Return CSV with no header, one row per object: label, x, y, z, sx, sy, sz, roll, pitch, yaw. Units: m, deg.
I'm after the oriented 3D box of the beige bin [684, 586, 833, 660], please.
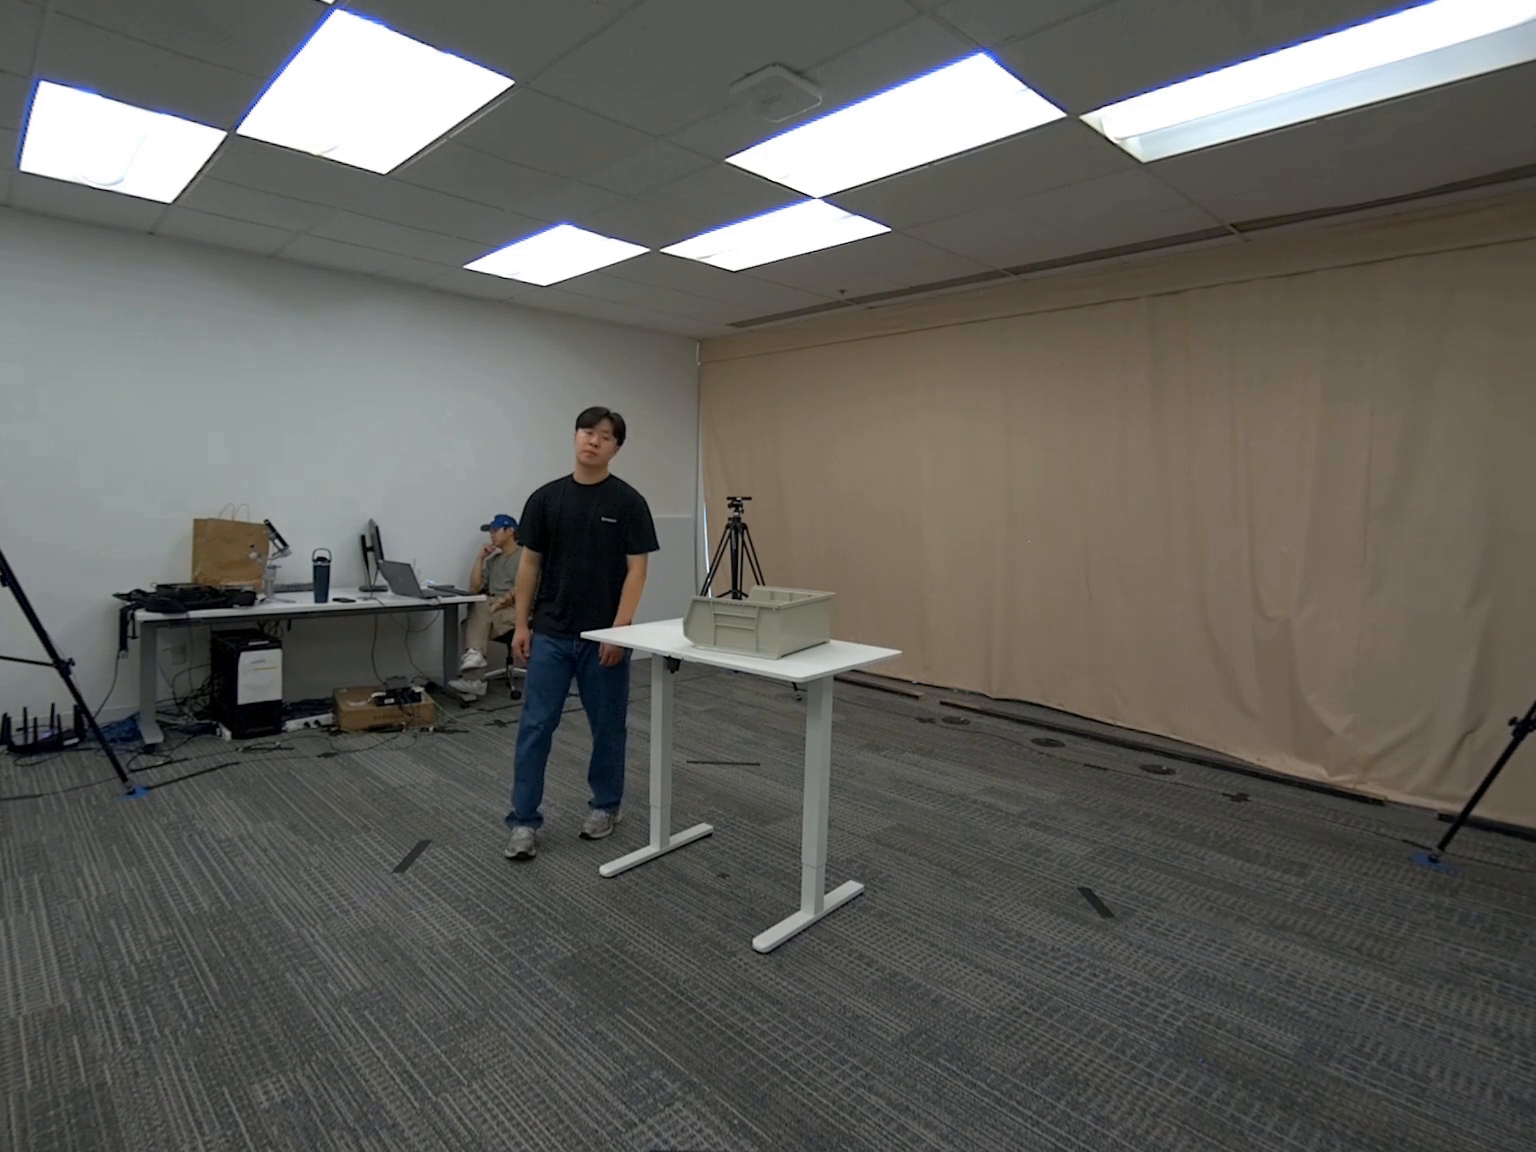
beige bin,-0.029,0.158,2.933,0.386,0.188,0.414,6,6,30
